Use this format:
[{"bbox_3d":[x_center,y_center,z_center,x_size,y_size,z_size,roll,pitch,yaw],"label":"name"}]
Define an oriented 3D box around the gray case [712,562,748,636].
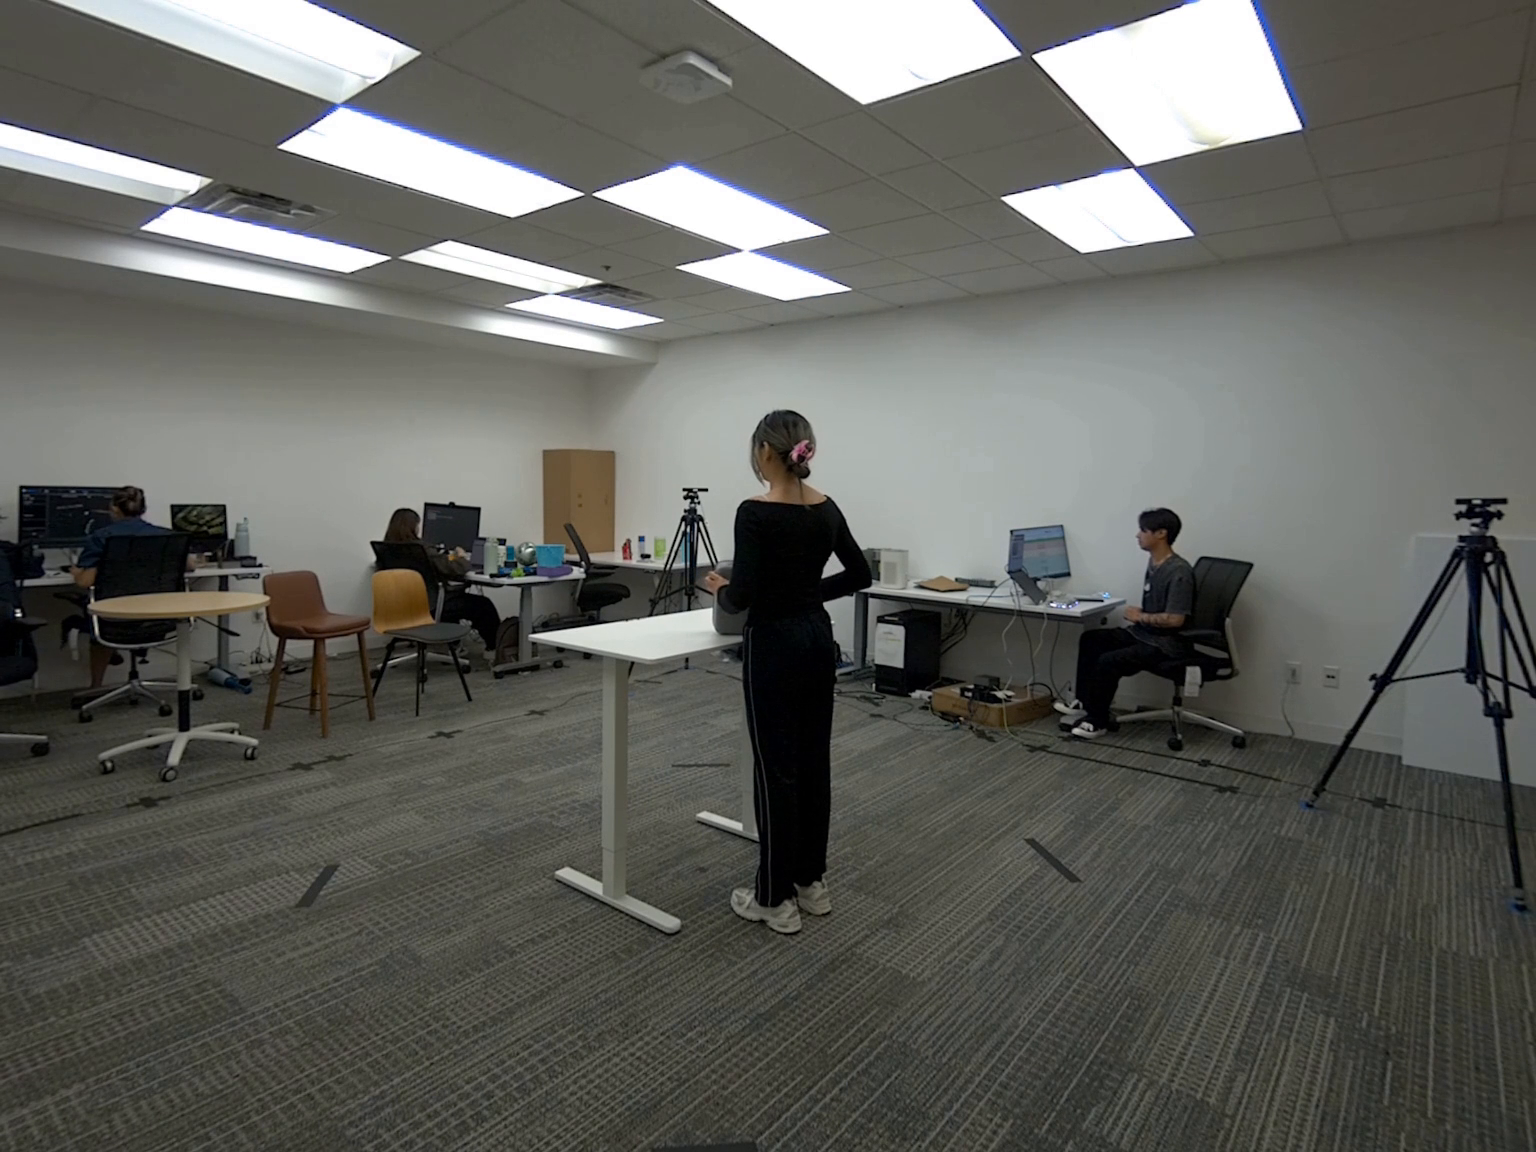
[{"bbox_3d":[-0.065,0.071,2.965,0.257,0.258,0.105,0,9,0],"label":"gray case"}]
